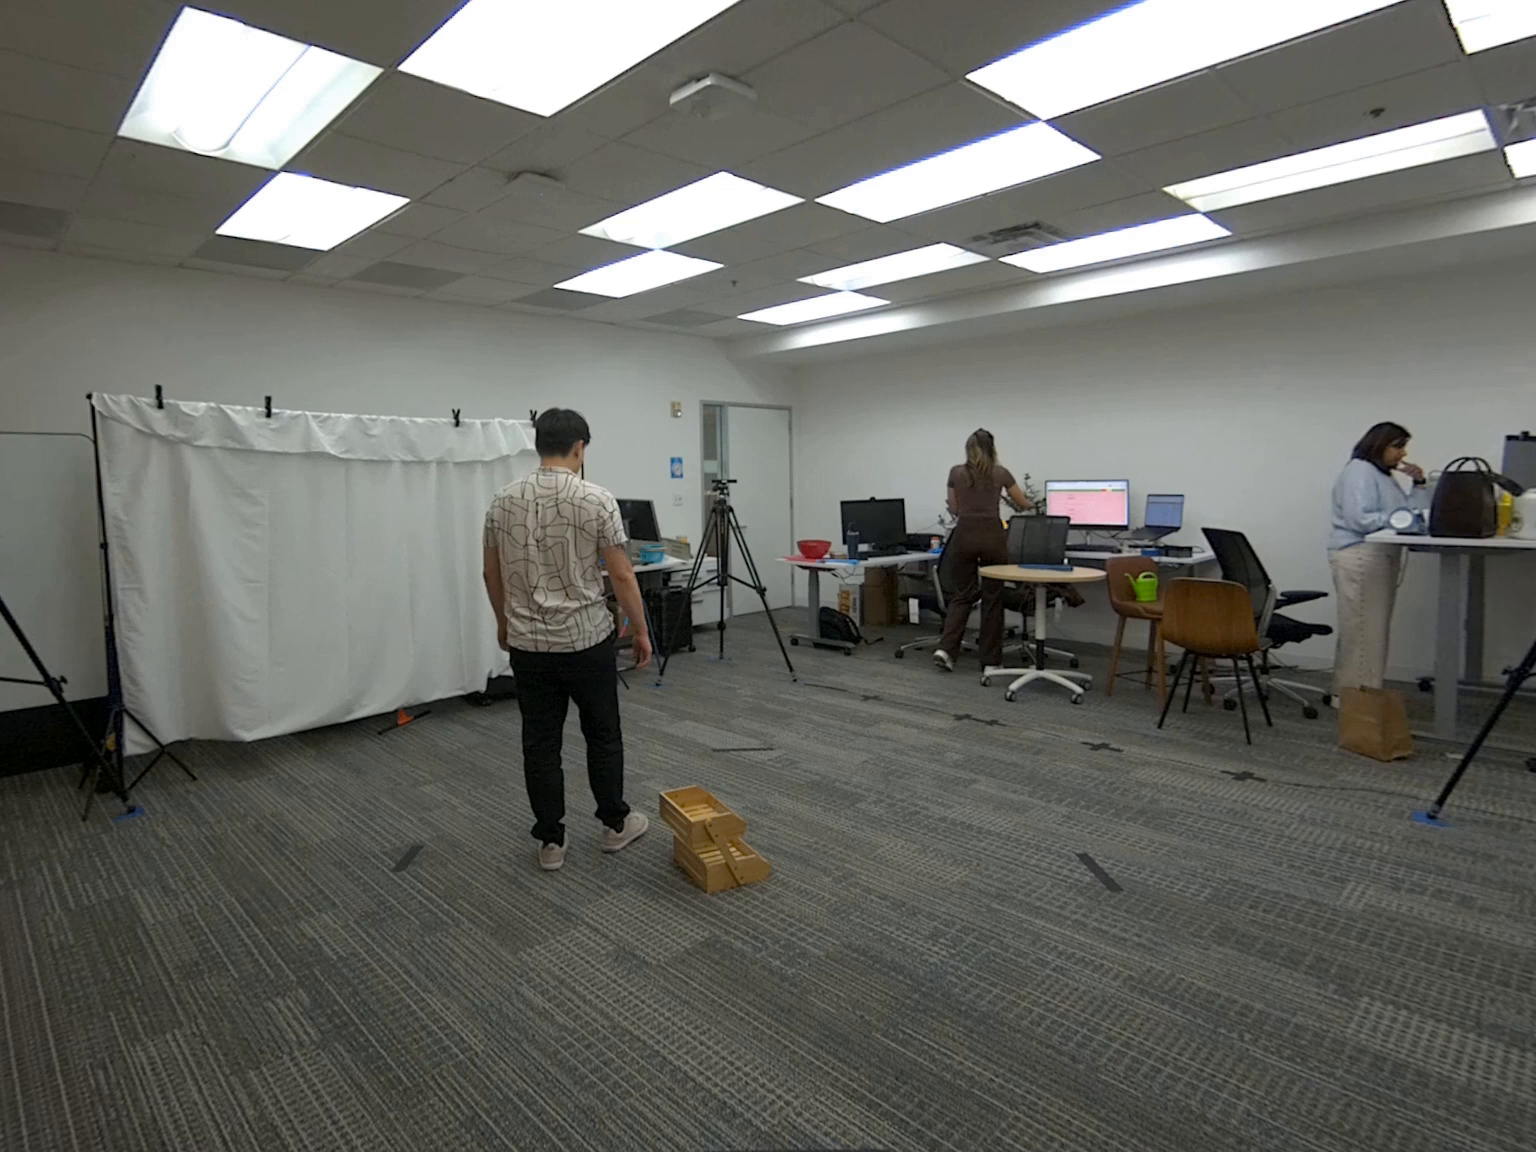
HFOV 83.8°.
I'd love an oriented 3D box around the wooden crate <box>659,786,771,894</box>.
[{"bbox_3d":[-0.188,0.916,3.060,0.295,0.272,0.333,-5,6,-27],"label":"wooden crate"}]
